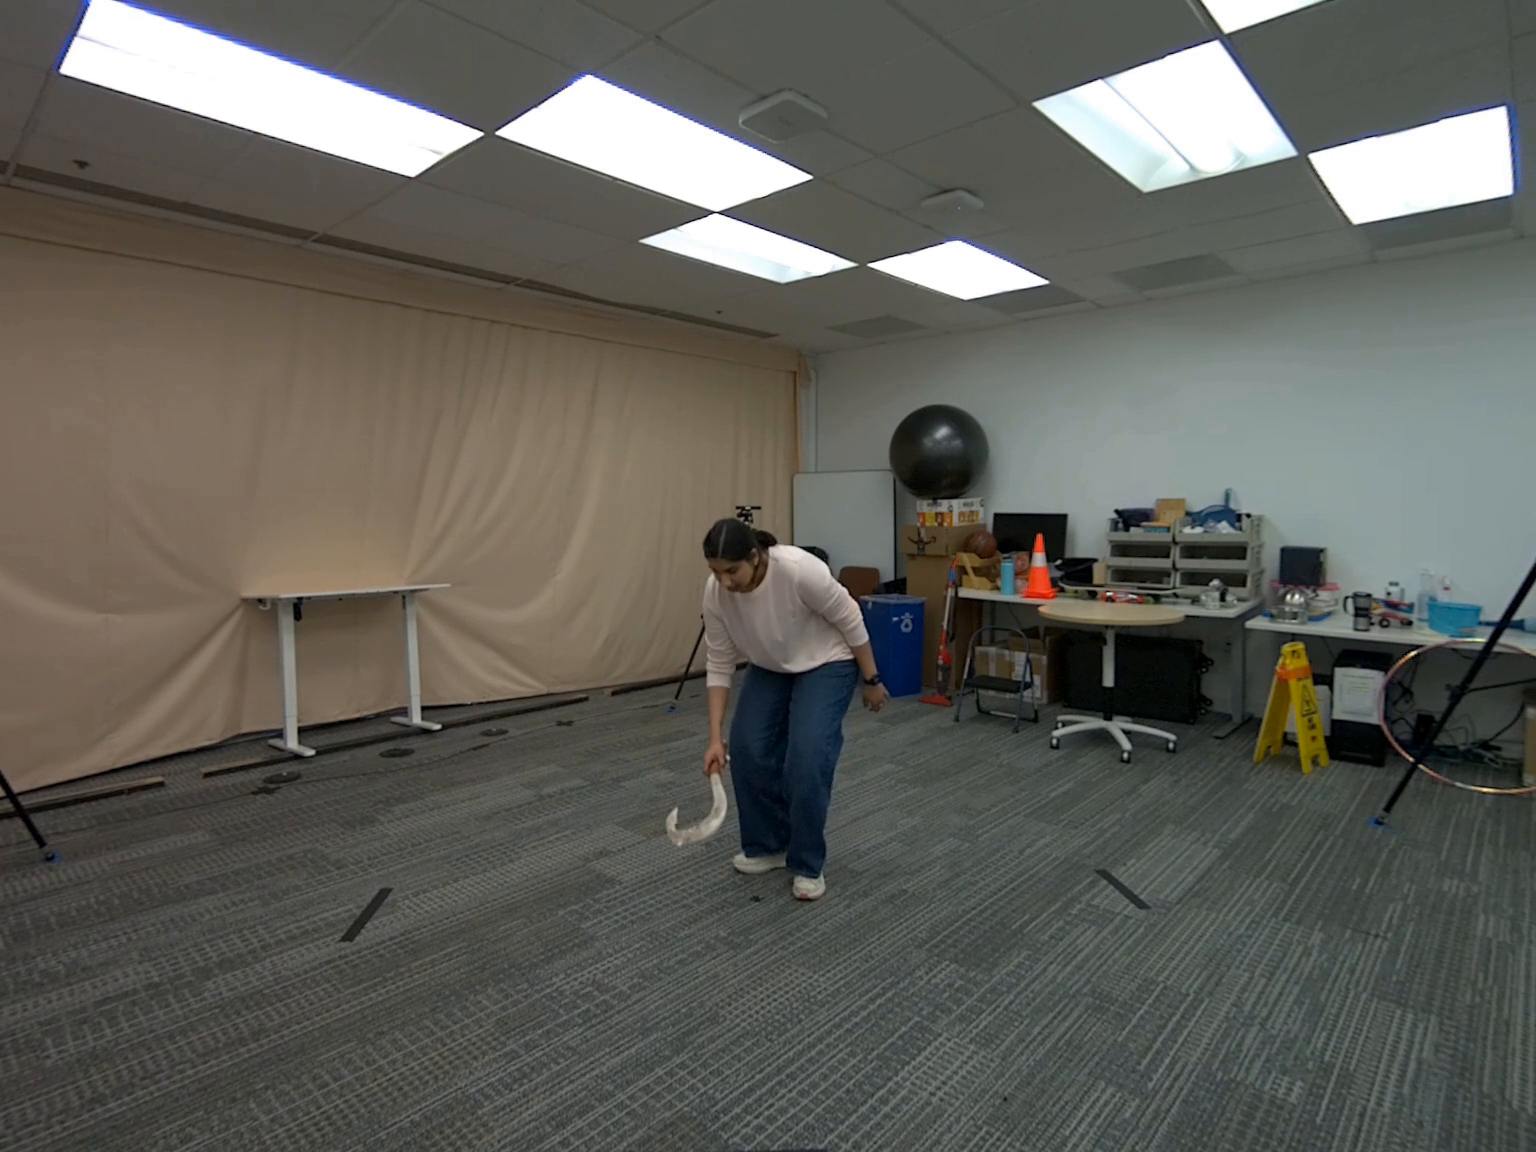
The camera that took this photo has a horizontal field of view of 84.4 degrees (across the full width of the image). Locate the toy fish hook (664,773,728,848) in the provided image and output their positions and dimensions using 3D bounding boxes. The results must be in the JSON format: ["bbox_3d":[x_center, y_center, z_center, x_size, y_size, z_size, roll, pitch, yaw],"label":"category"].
[{"bbox_3d":[-0.235,0.731,2.882,0.226,0.047,0.512,-19,21,9],"label":"toy fish hook"}]
